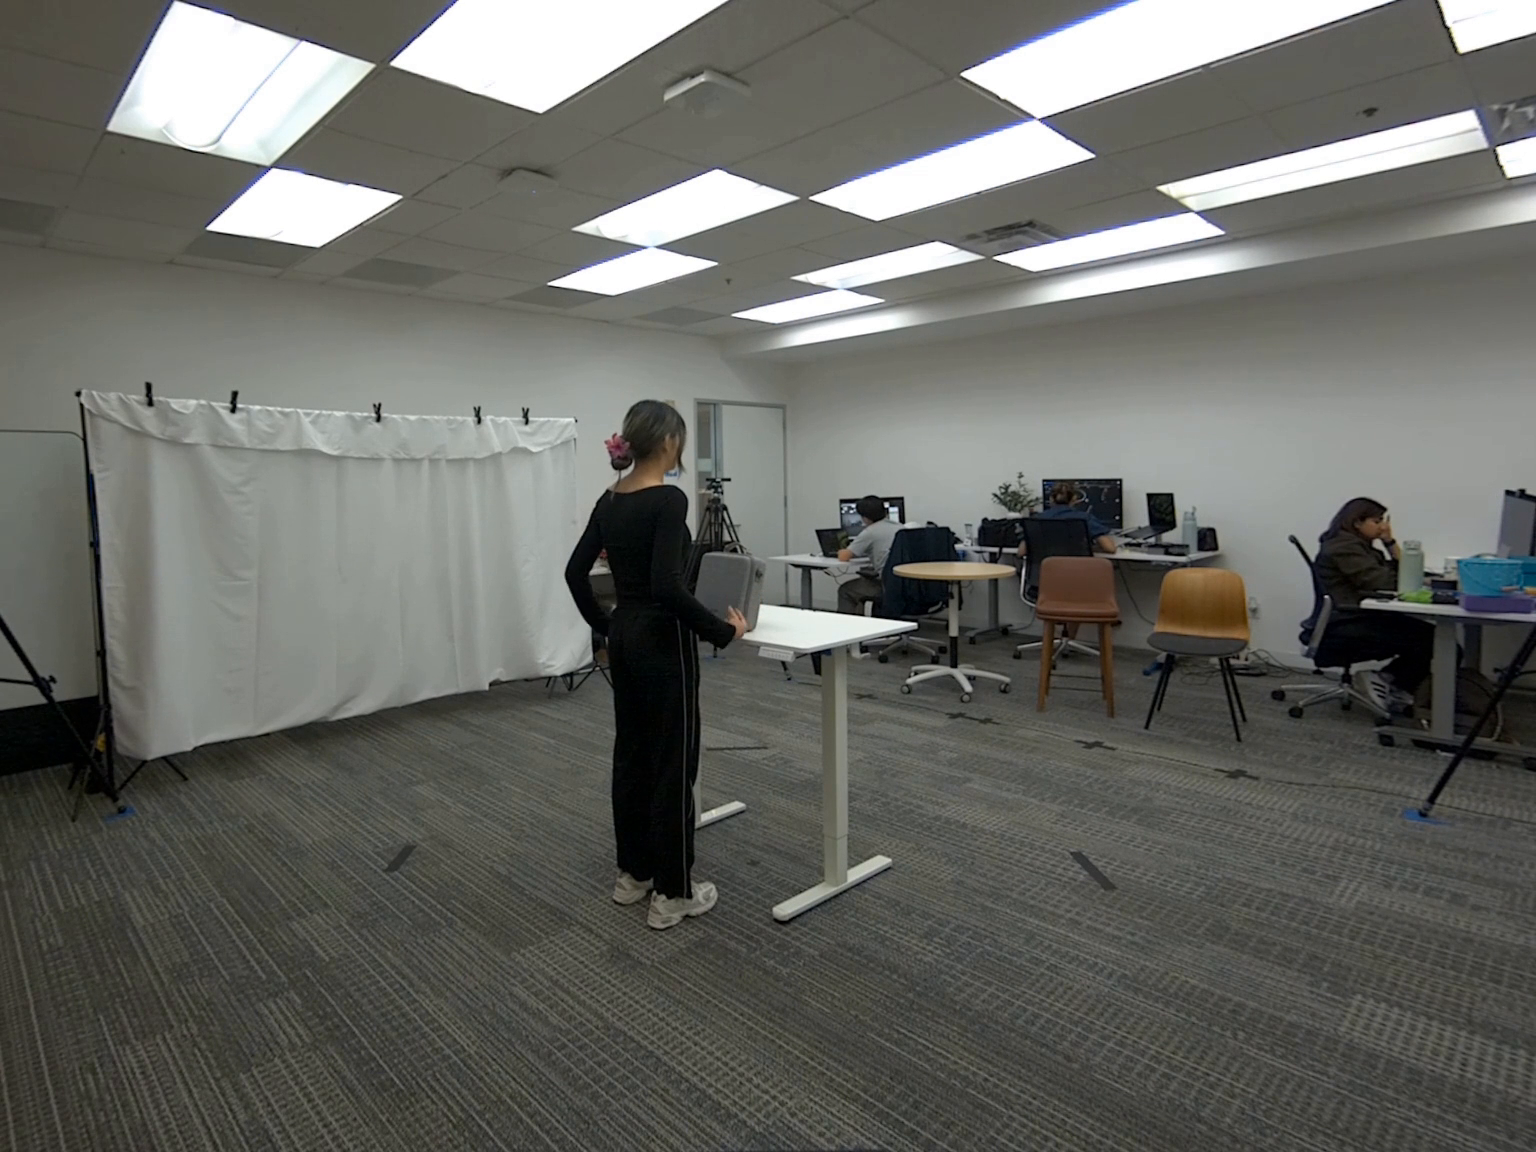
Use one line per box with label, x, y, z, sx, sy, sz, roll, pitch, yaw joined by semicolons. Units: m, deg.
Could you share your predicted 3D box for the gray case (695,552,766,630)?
gray case;-0.138;0.048;2.923;0.101;0.261;0.264;12;-4;-37
